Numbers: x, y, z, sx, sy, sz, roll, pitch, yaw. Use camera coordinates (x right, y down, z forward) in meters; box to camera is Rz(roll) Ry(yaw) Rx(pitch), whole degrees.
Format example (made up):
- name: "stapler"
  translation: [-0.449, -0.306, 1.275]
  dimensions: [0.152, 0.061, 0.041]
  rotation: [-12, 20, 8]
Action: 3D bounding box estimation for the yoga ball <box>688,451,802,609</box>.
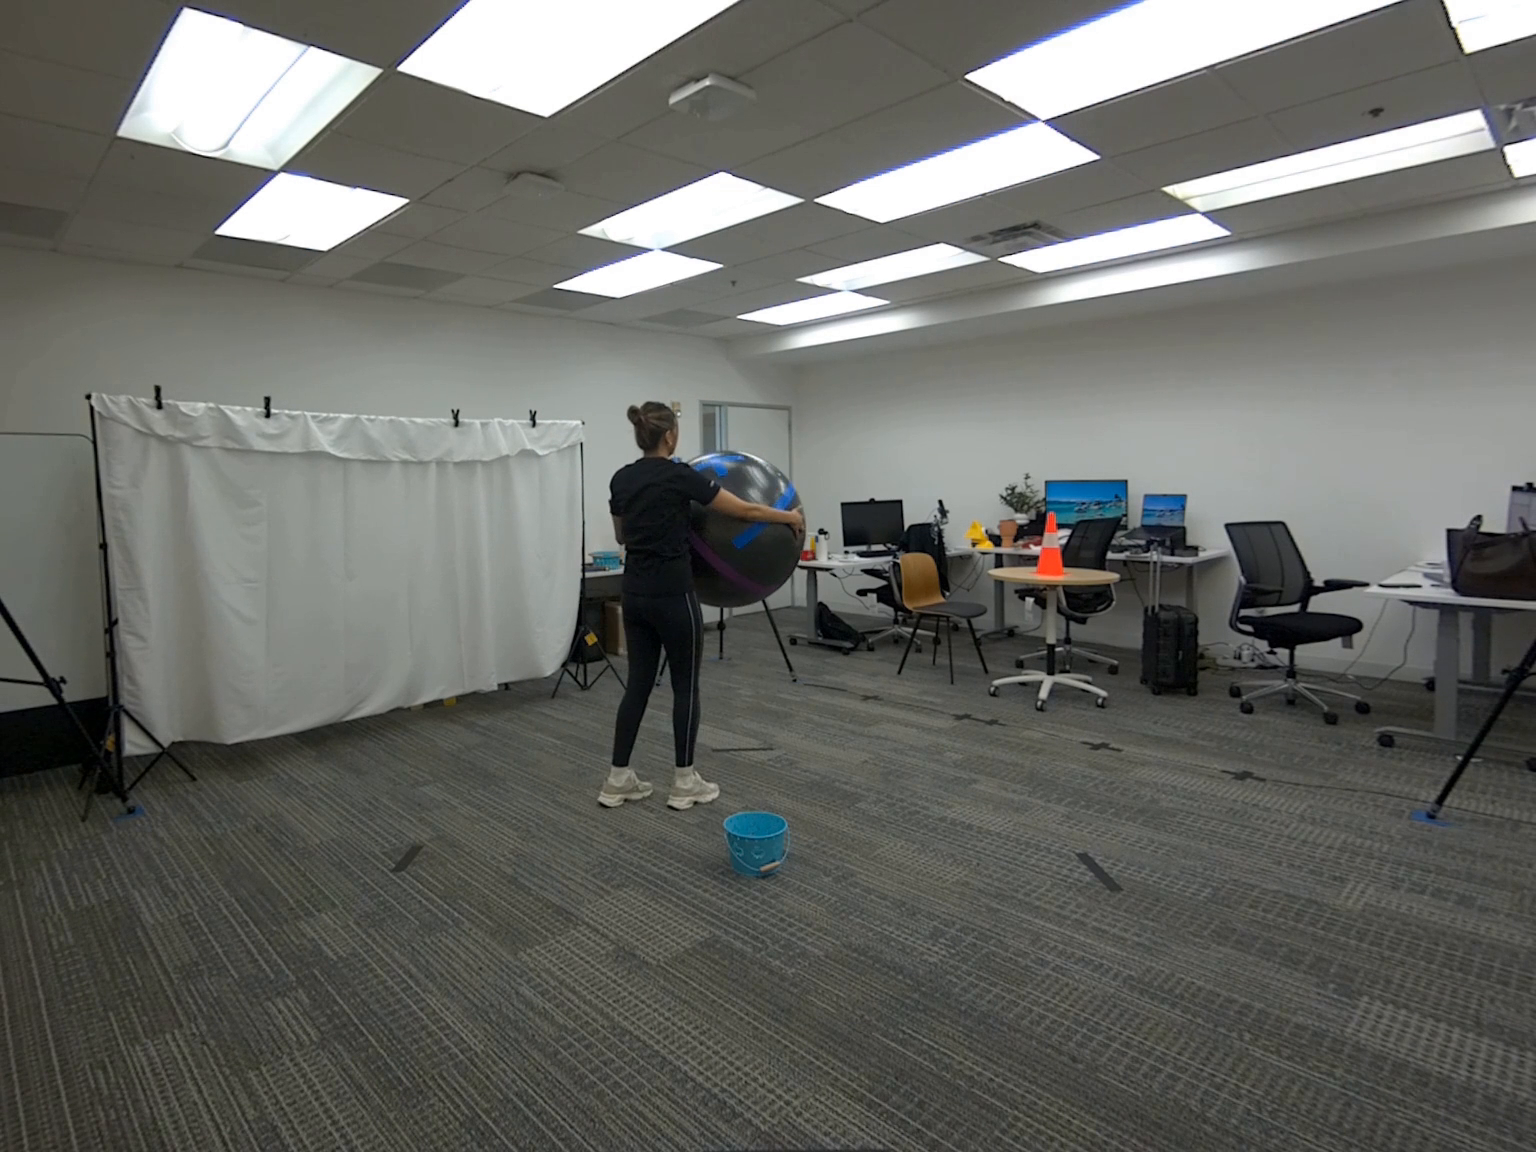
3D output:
- name: "yoga ball"
  translation: [-0.193, -0.226, 4.141]
  dimensions: [0.757, 0.755, 0.762]
  rotation: [-1, 5, -2]
